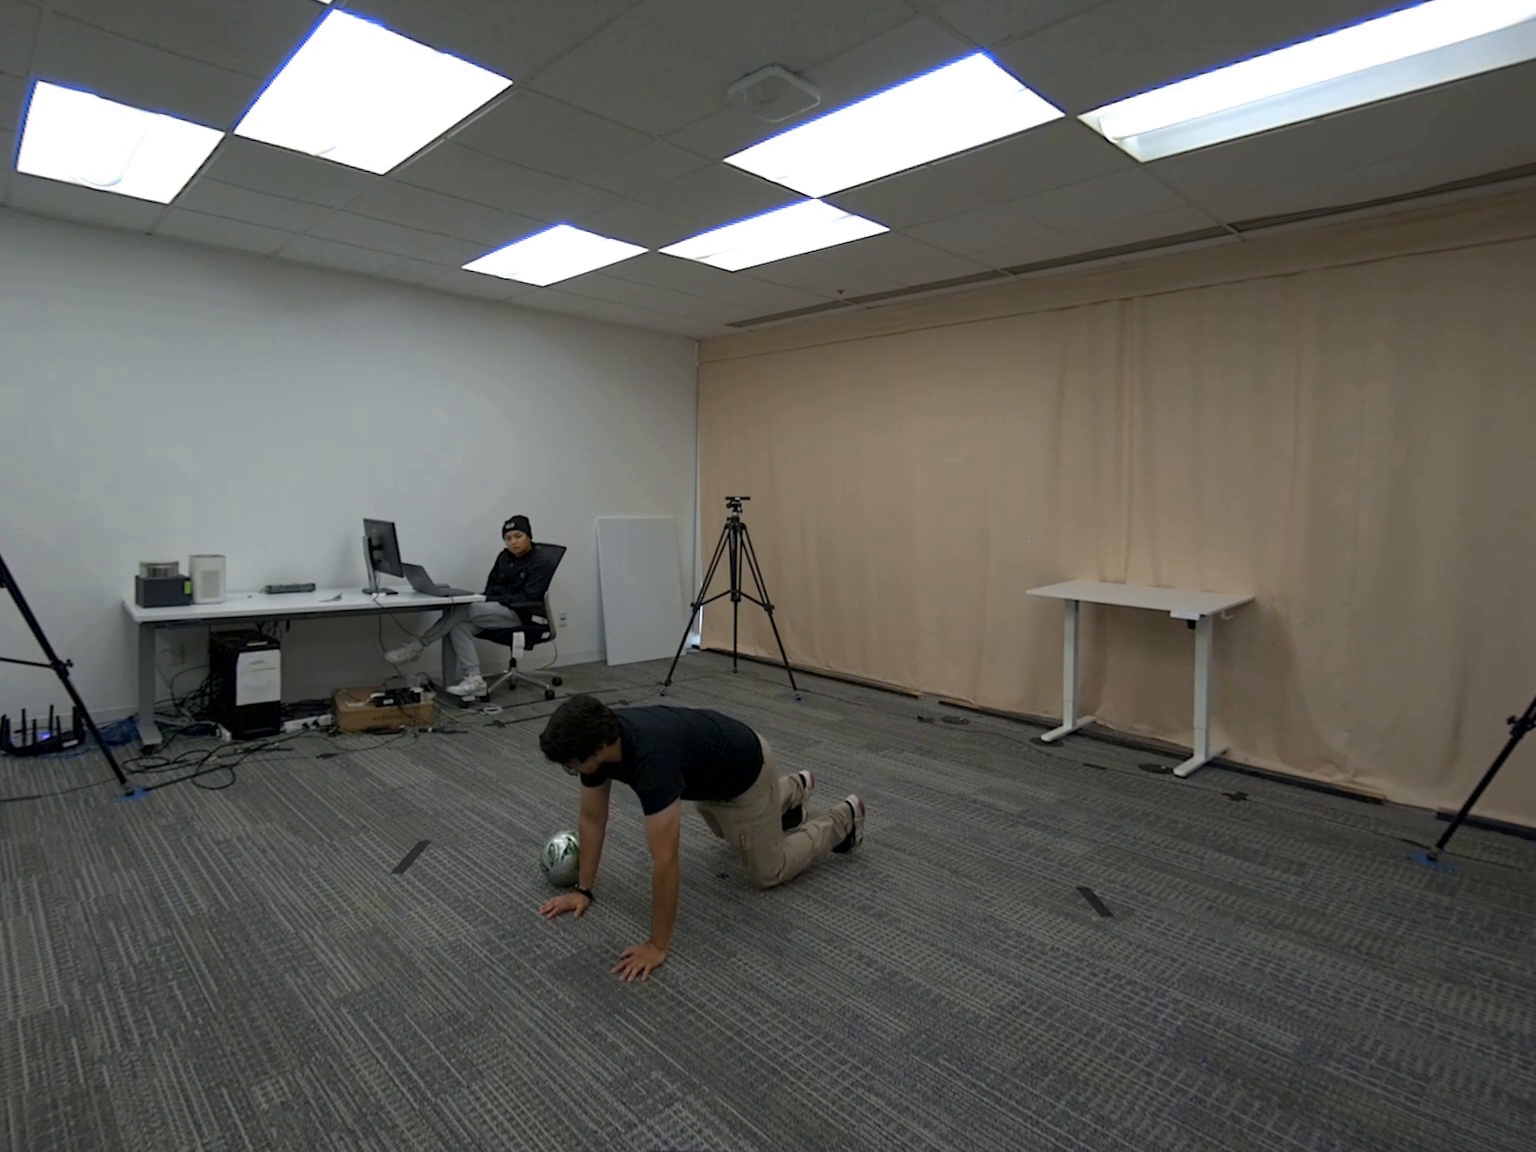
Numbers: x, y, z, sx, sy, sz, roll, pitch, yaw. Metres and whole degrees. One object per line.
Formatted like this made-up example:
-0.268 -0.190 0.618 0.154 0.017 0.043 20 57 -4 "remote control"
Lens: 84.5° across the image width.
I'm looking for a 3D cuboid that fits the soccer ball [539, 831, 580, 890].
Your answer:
-0.724 1.008 3.017 0.187 0.187 0.188 1 4 -1 "soccer ball"
